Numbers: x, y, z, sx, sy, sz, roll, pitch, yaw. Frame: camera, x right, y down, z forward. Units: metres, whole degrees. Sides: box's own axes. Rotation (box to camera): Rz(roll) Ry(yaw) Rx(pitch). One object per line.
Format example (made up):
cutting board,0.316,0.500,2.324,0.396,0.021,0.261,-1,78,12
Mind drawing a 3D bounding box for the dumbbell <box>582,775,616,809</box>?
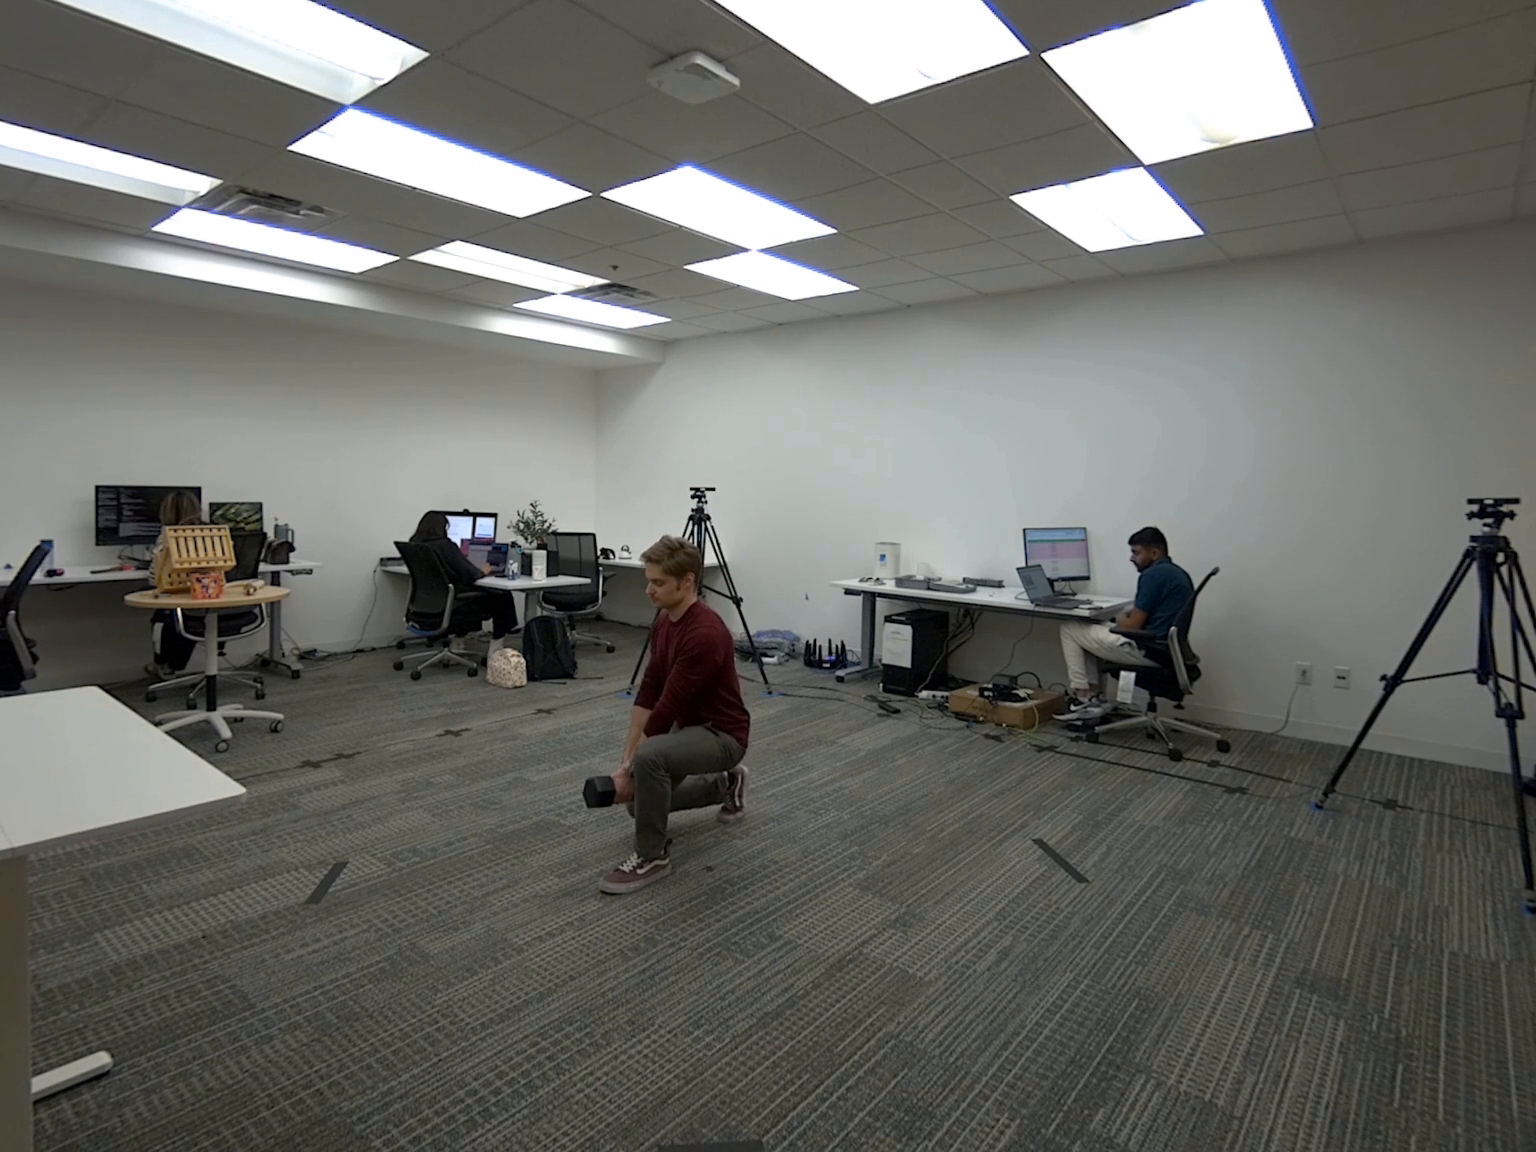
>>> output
dumbbell,-0.542,0.777,3.126,0.283,0.108,0.128,12,36,-37
